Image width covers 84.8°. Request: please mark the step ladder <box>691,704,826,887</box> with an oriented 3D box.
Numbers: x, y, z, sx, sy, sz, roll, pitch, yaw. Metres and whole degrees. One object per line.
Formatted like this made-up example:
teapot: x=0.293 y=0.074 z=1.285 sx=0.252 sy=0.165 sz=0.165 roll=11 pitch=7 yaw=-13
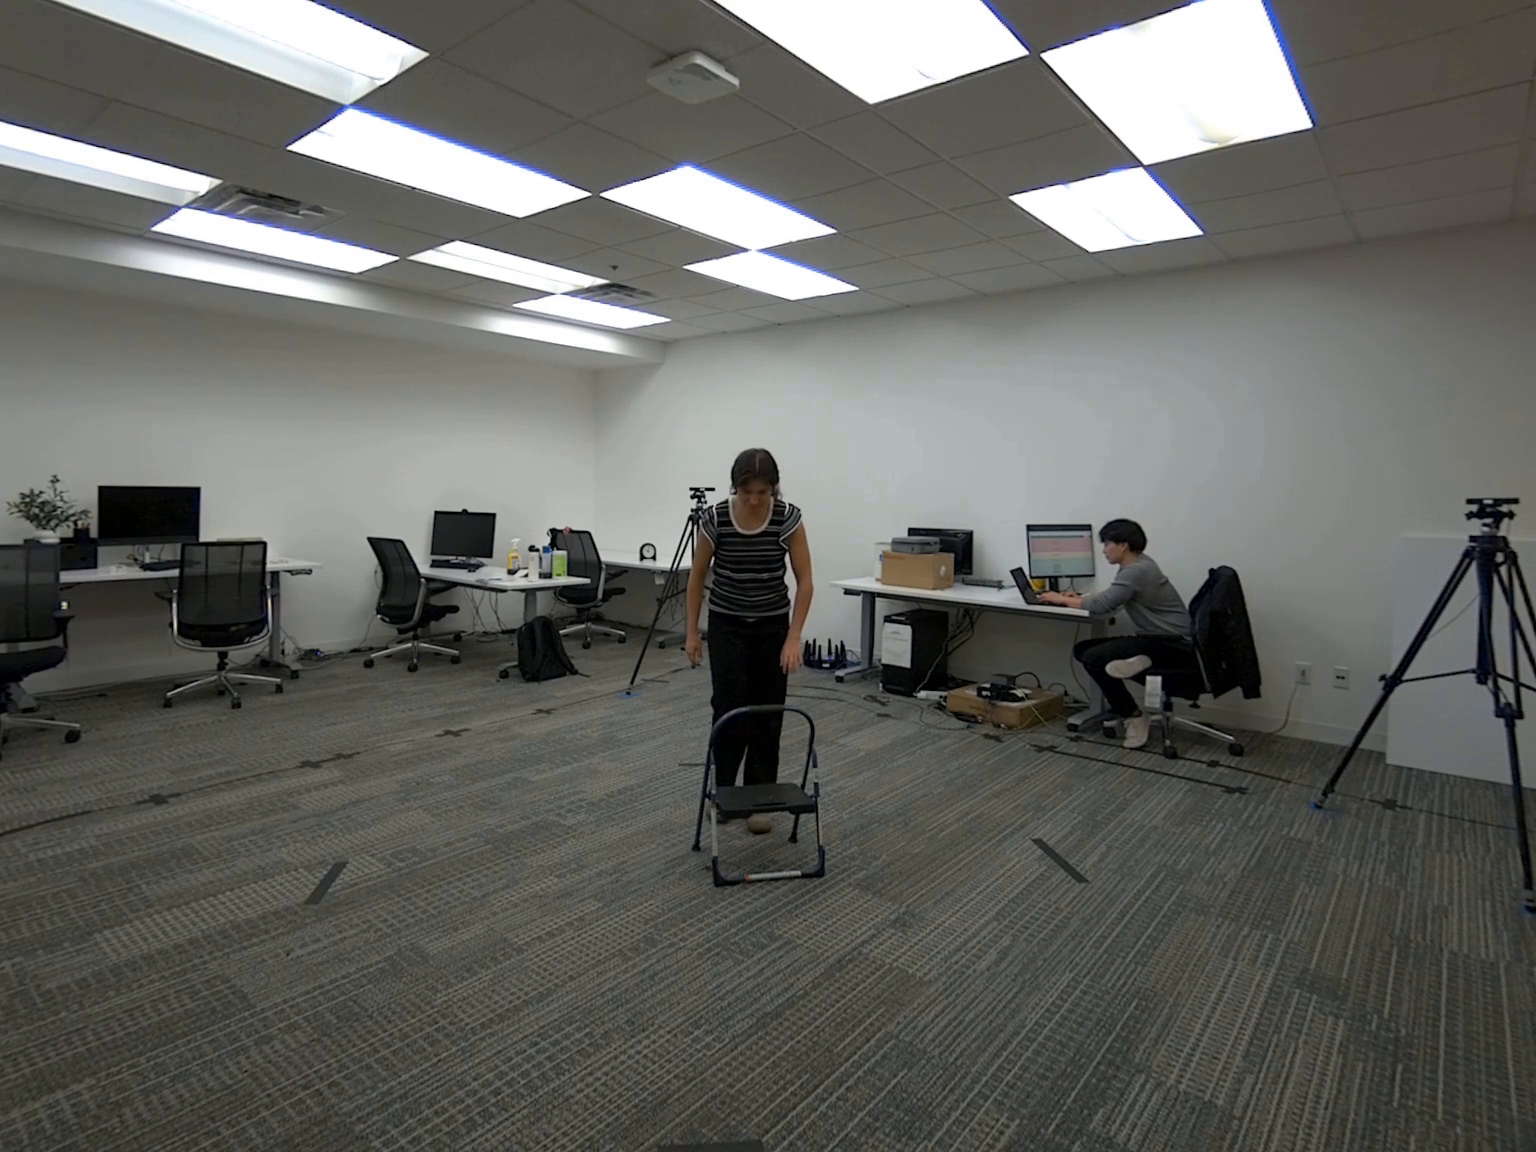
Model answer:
step ladder: x=-0.044 y=0.762 z=3.163 sx=0.423 sy=0.604 sz=0.356 roll=0 pitch=3 yaw=-16
